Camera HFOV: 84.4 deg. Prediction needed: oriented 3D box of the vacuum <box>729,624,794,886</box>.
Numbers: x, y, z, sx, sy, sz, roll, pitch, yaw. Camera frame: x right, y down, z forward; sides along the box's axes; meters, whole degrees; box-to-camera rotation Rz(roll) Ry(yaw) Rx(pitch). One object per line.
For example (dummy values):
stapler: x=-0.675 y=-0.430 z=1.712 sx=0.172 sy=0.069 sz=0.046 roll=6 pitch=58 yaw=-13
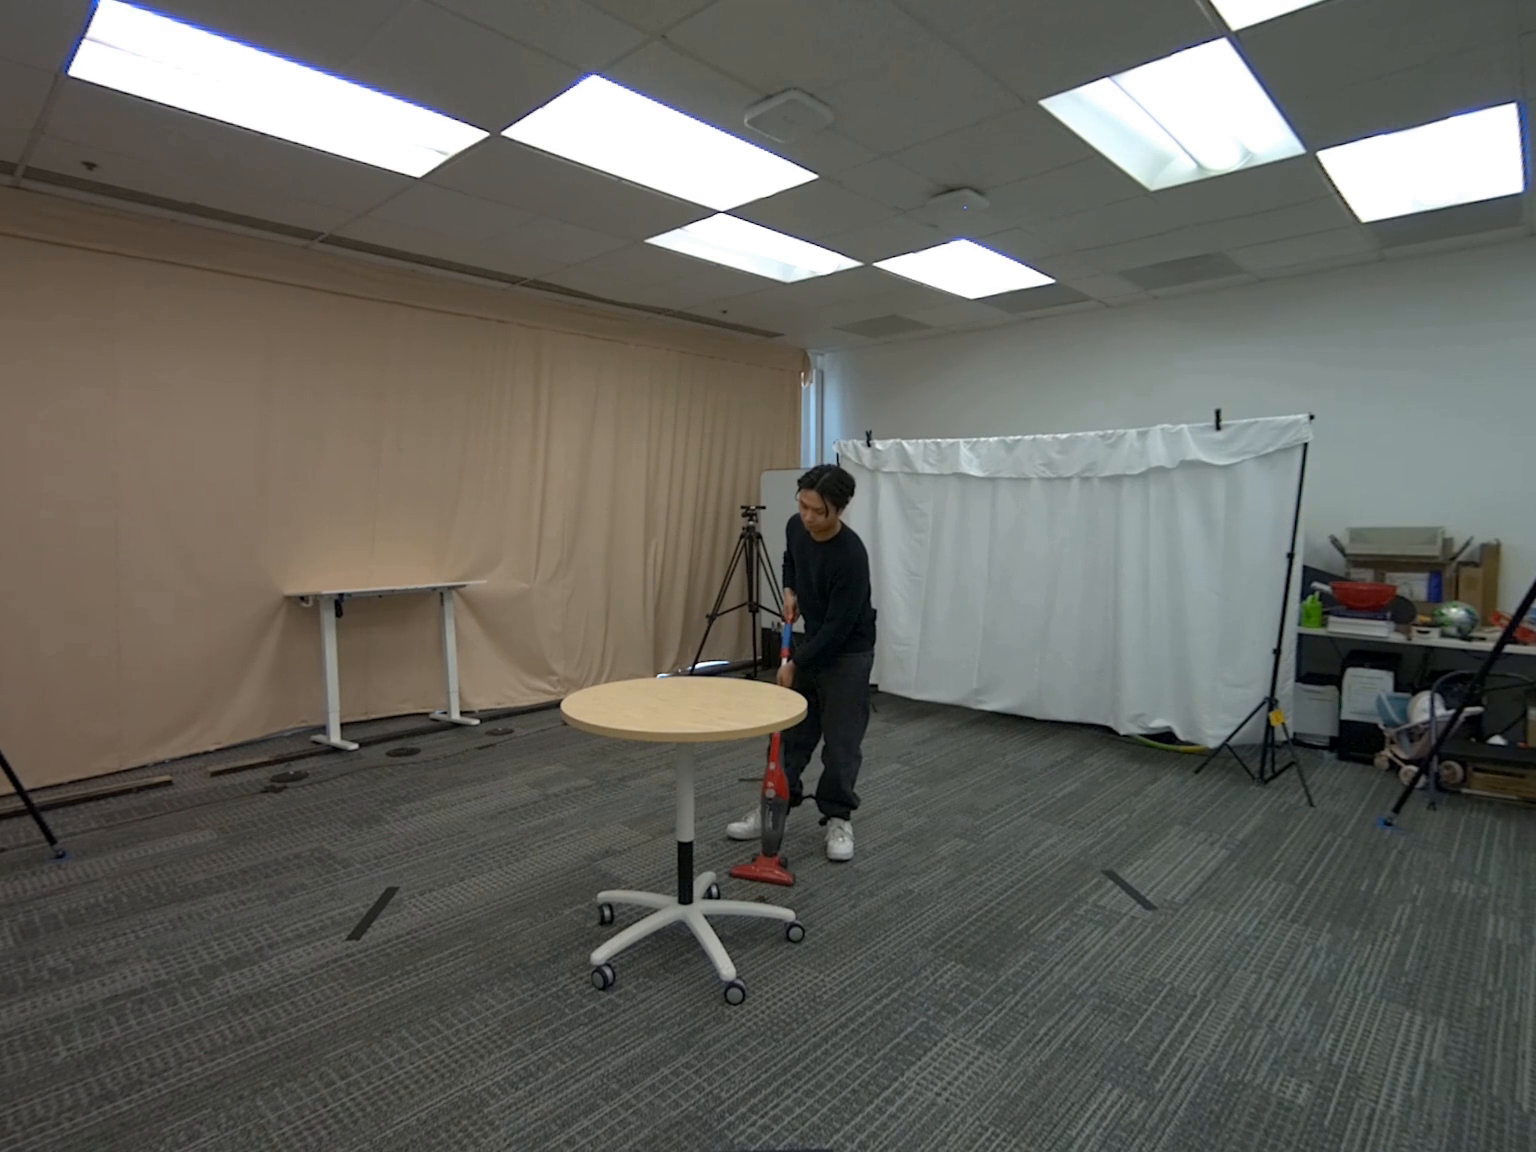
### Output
vacuum: x=0.050 y=0.633 z=3.339 sx=0.258 sy=1.058 sz=0.139 roll=-1 pitch=-20 yaw=21
